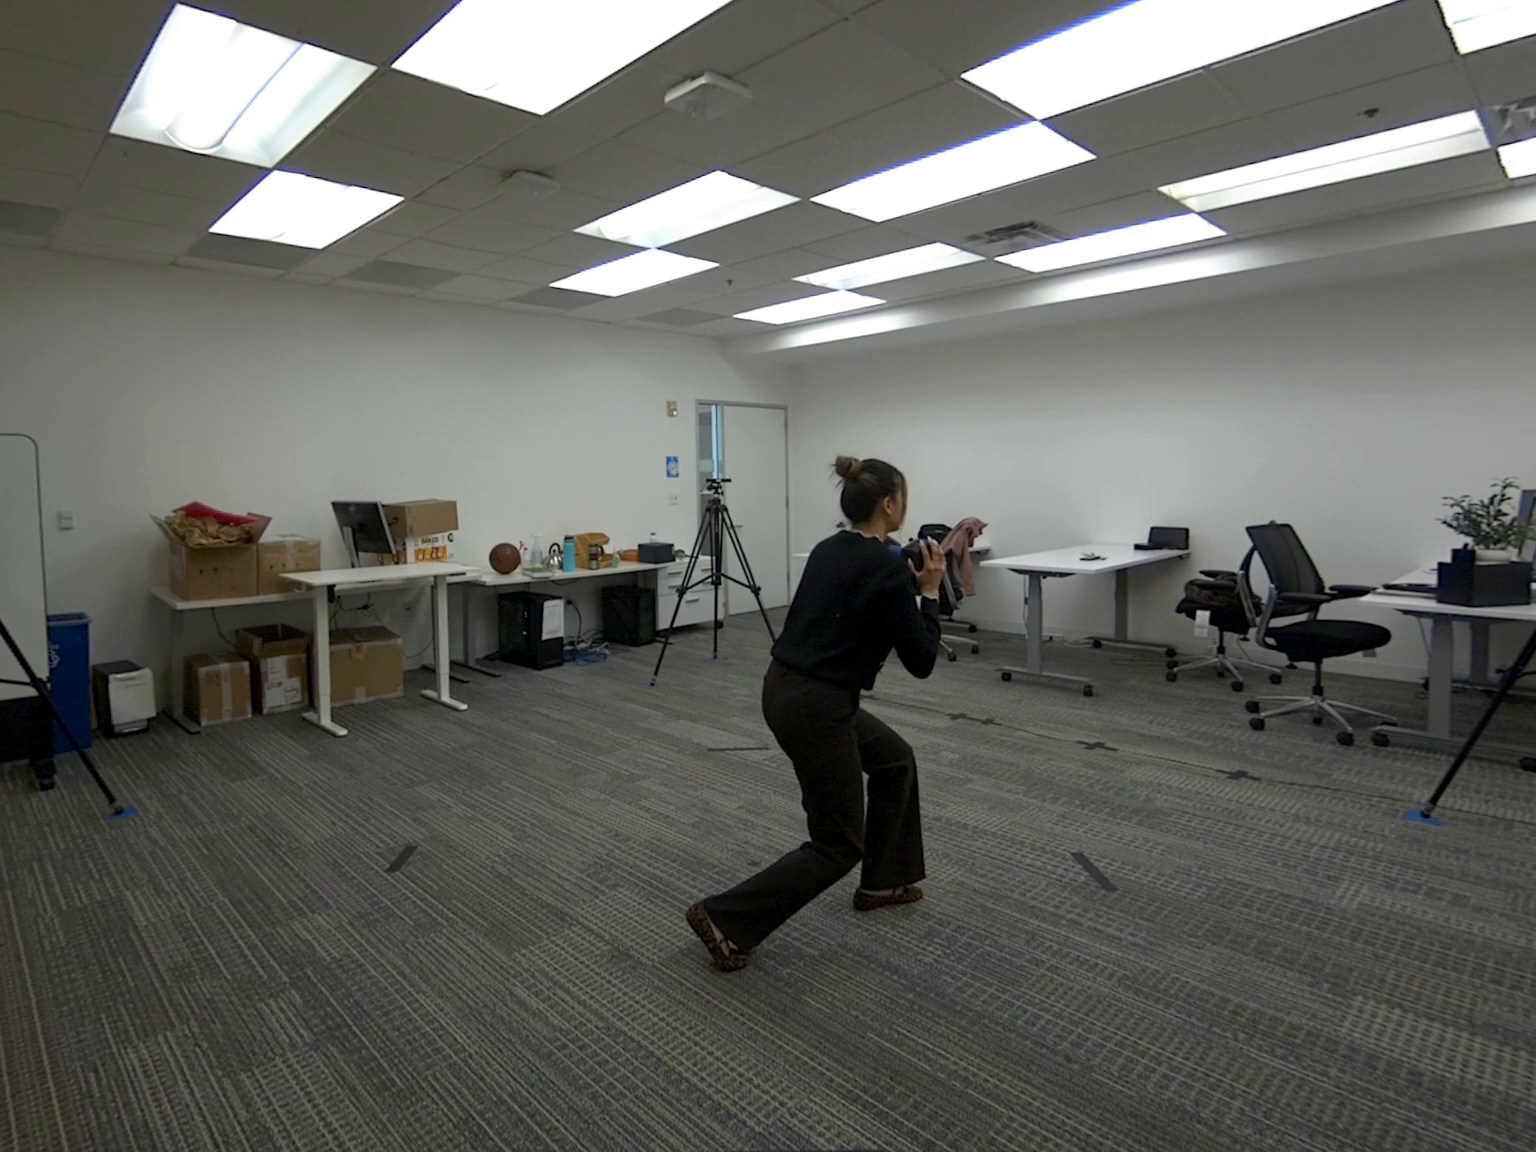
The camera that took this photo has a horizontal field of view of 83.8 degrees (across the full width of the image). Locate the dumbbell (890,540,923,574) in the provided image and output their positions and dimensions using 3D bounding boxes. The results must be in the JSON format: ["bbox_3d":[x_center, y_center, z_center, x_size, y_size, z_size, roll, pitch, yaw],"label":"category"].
[{"bbox_3d":[0.411,-0.064,2.730,0.122,0.107,0.300,-35,17,-14],"label":"dumbbell"}]
